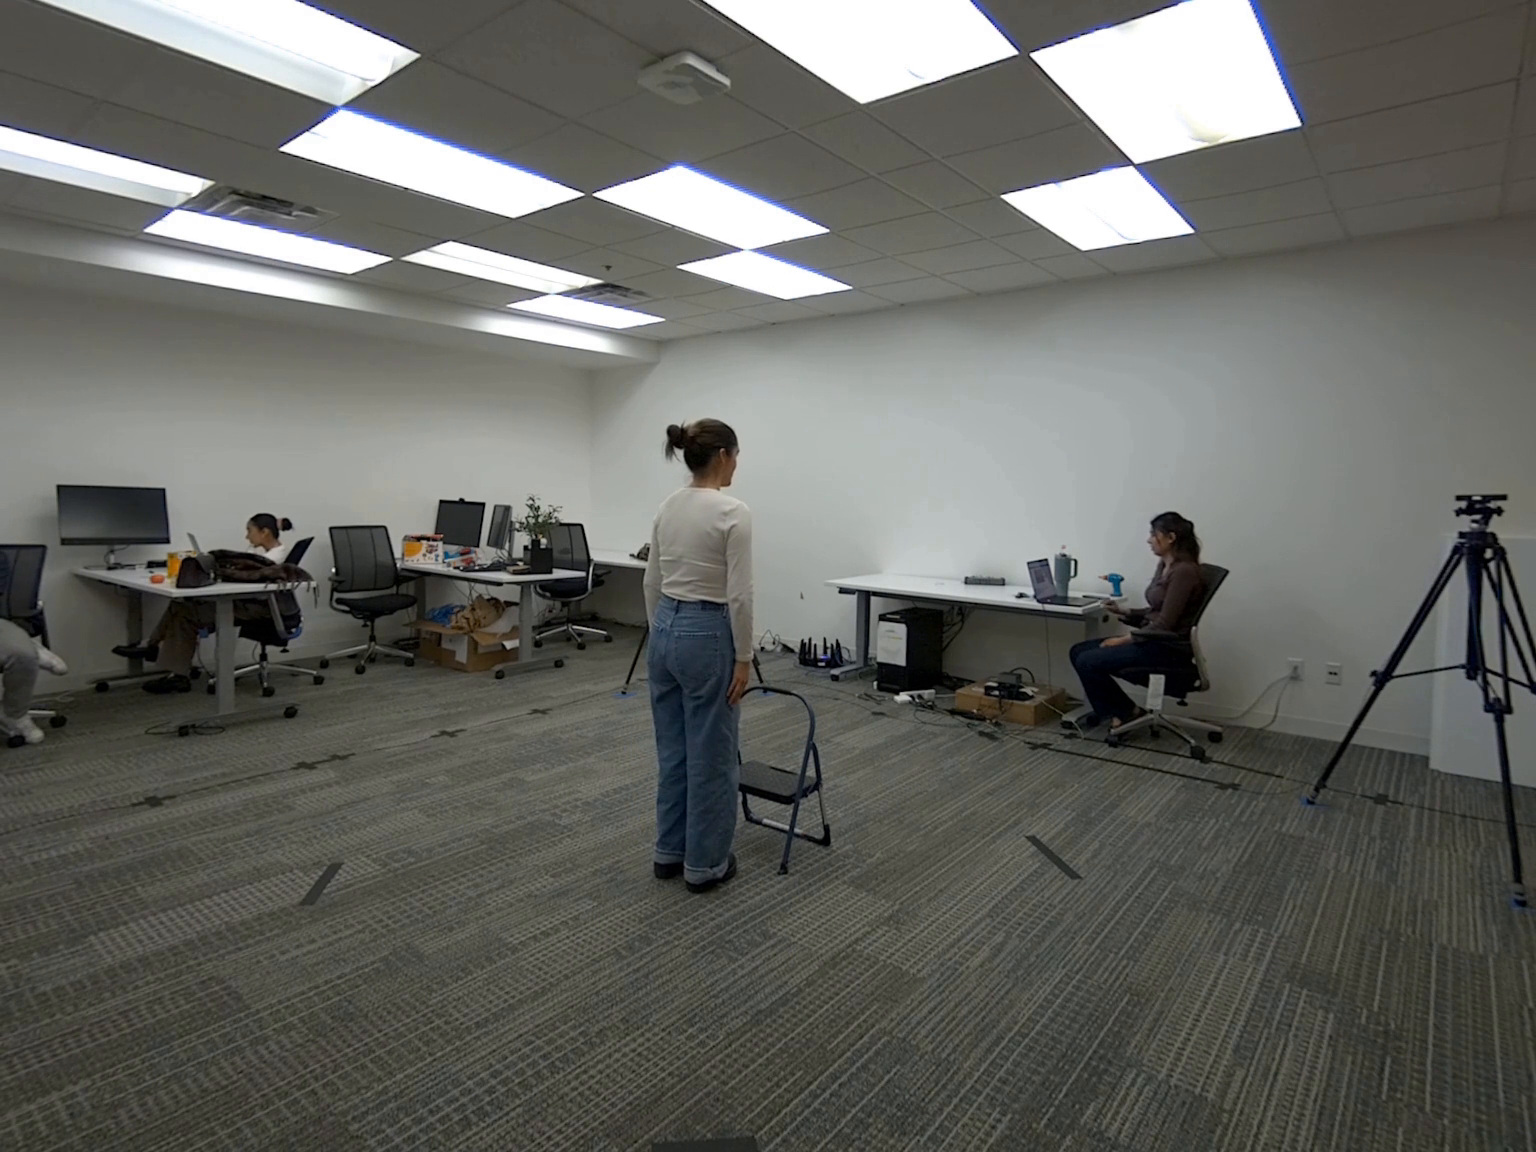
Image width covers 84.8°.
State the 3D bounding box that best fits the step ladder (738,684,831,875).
[{"bbox_3d":[-0.018,0.742,3.314,0.445,0.604,0.339,4,5,37],"label":"step ladder"}]
